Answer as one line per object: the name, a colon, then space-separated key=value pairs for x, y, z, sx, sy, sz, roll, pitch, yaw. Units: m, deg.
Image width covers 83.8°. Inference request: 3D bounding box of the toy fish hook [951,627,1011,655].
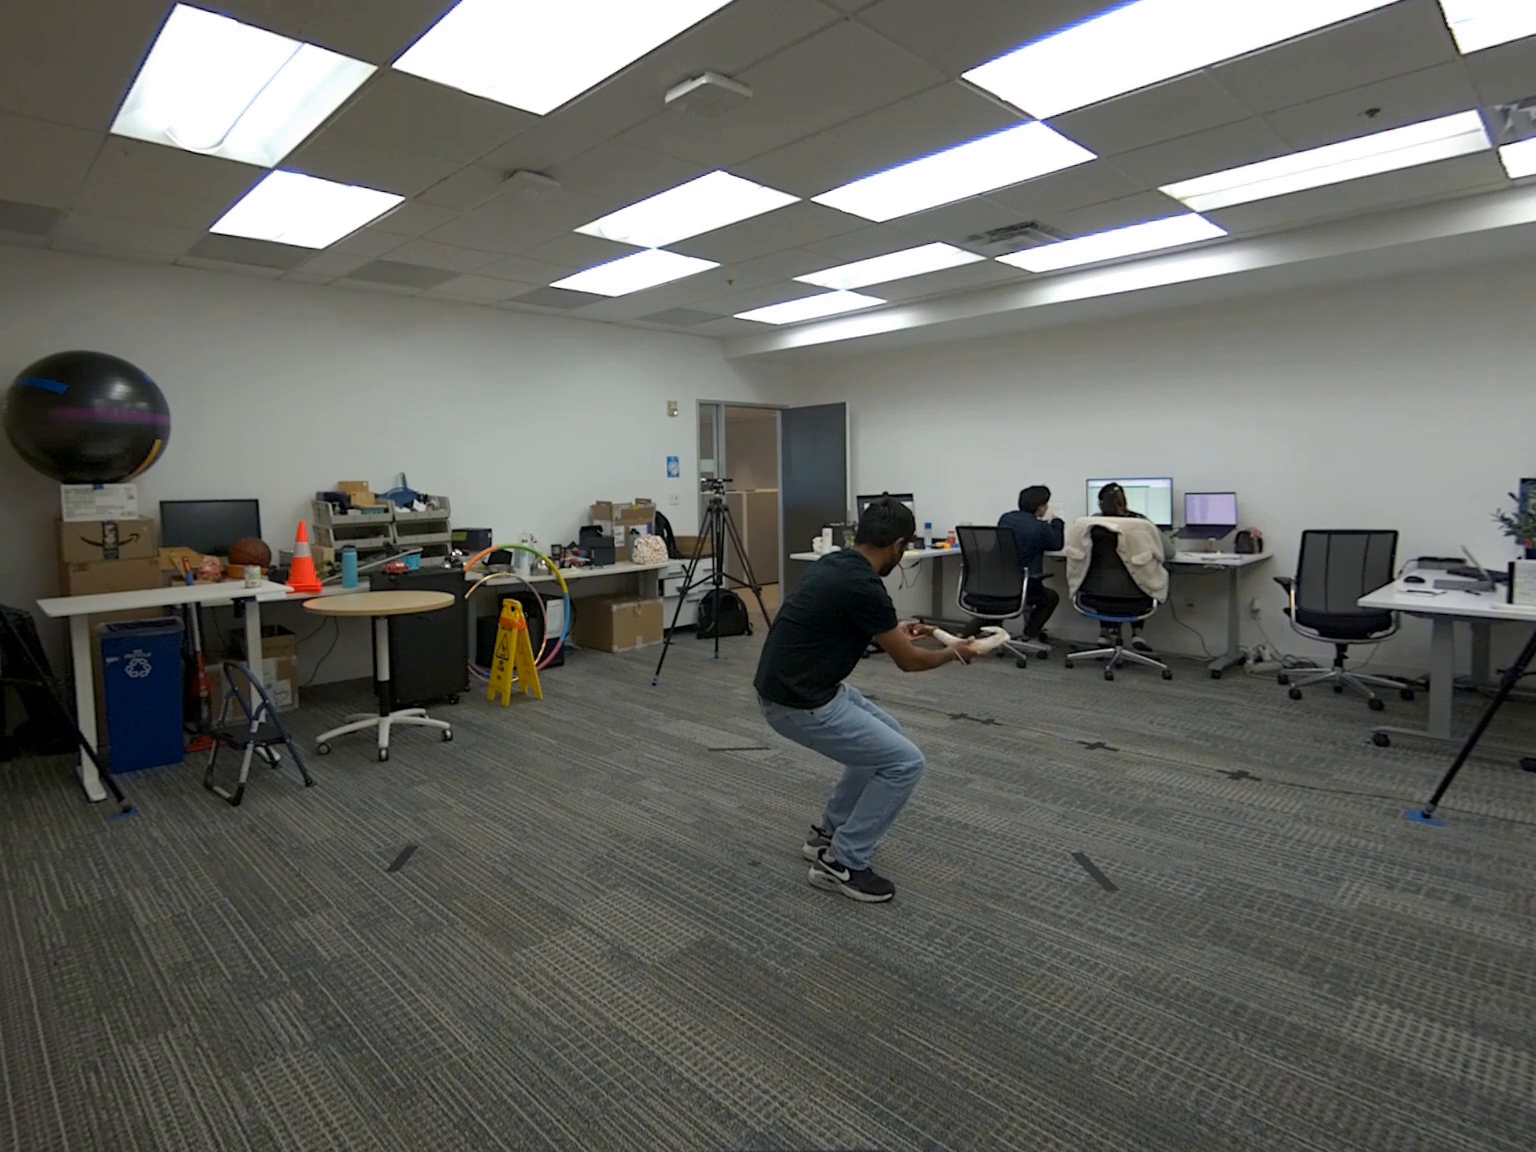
toy fish hook: x=0.733 y=0.228 z=3.363 sx=0.221 sy=0.048 sz=0.519 roll=-13 pitch=12 yaw=-22
